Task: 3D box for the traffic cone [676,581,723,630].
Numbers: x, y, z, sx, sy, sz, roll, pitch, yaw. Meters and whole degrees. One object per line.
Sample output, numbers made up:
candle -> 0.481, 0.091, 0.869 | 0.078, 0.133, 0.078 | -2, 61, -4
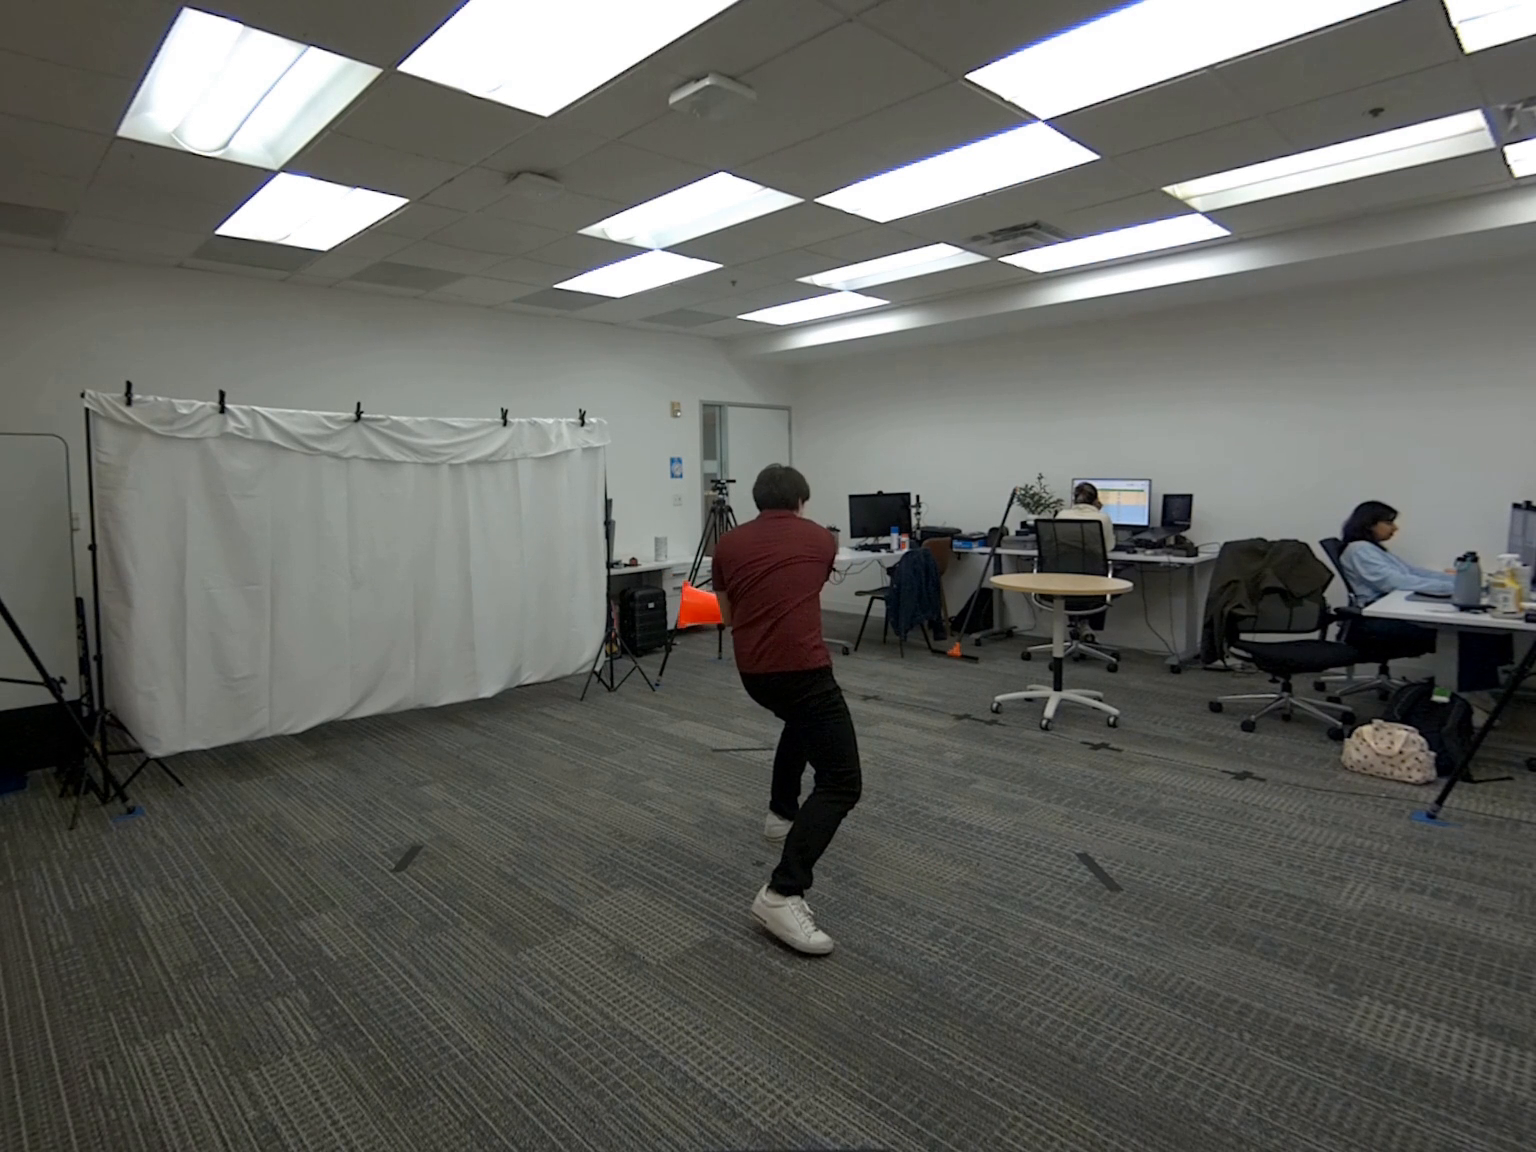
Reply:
traffic cone -> -0.159, 0.160, 3.553 | 0.387, 0.204, 0.203 | 12, -3, 6
